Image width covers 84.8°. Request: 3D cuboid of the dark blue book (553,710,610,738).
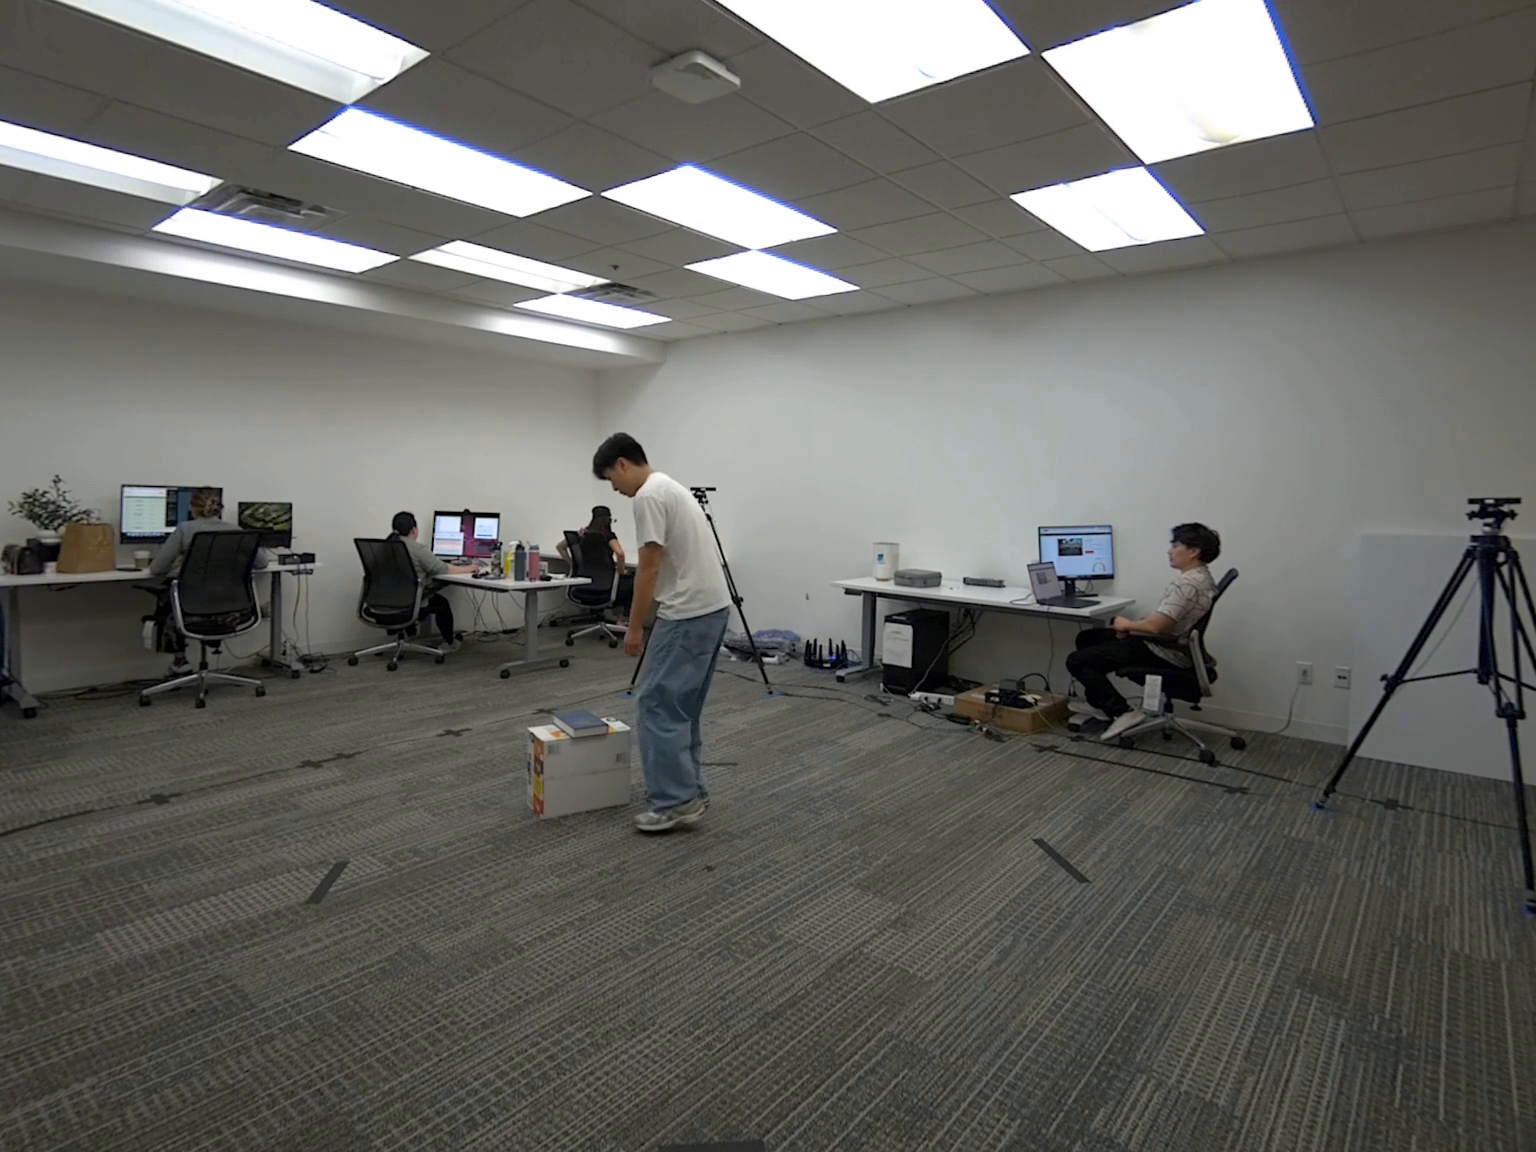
[{"bbox_3d":[-0.836,0.639,3.706,0.159,0.045,0.253,-2,8,-33],"label":"dark blue book"}]
